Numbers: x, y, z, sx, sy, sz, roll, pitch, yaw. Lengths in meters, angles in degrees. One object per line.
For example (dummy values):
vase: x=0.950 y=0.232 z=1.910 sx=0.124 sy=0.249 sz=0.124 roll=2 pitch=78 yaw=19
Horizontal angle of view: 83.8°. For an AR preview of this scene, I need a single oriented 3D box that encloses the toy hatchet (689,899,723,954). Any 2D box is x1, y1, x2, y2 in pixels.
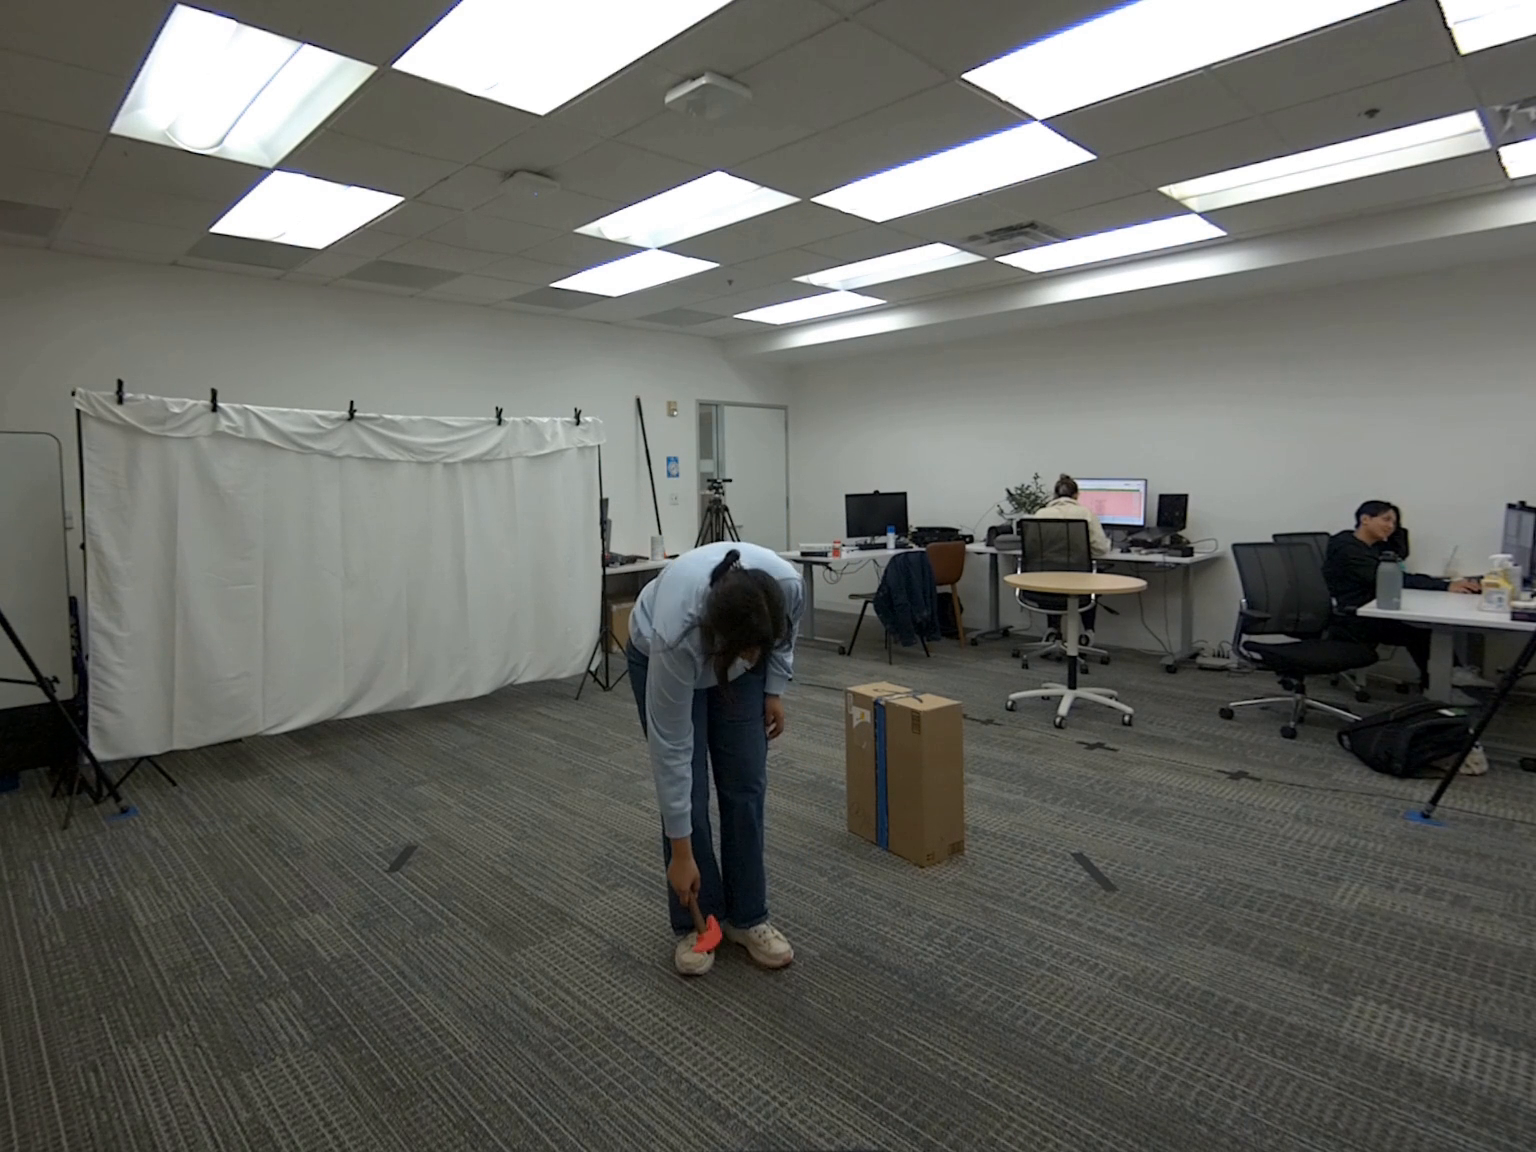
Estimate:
toy hatchet: x=-0.175 y=0.858 z=2.266 sx=0.030 sy=0.278 sz=0.126 roll=-31 pitch=-37 yaw=24
